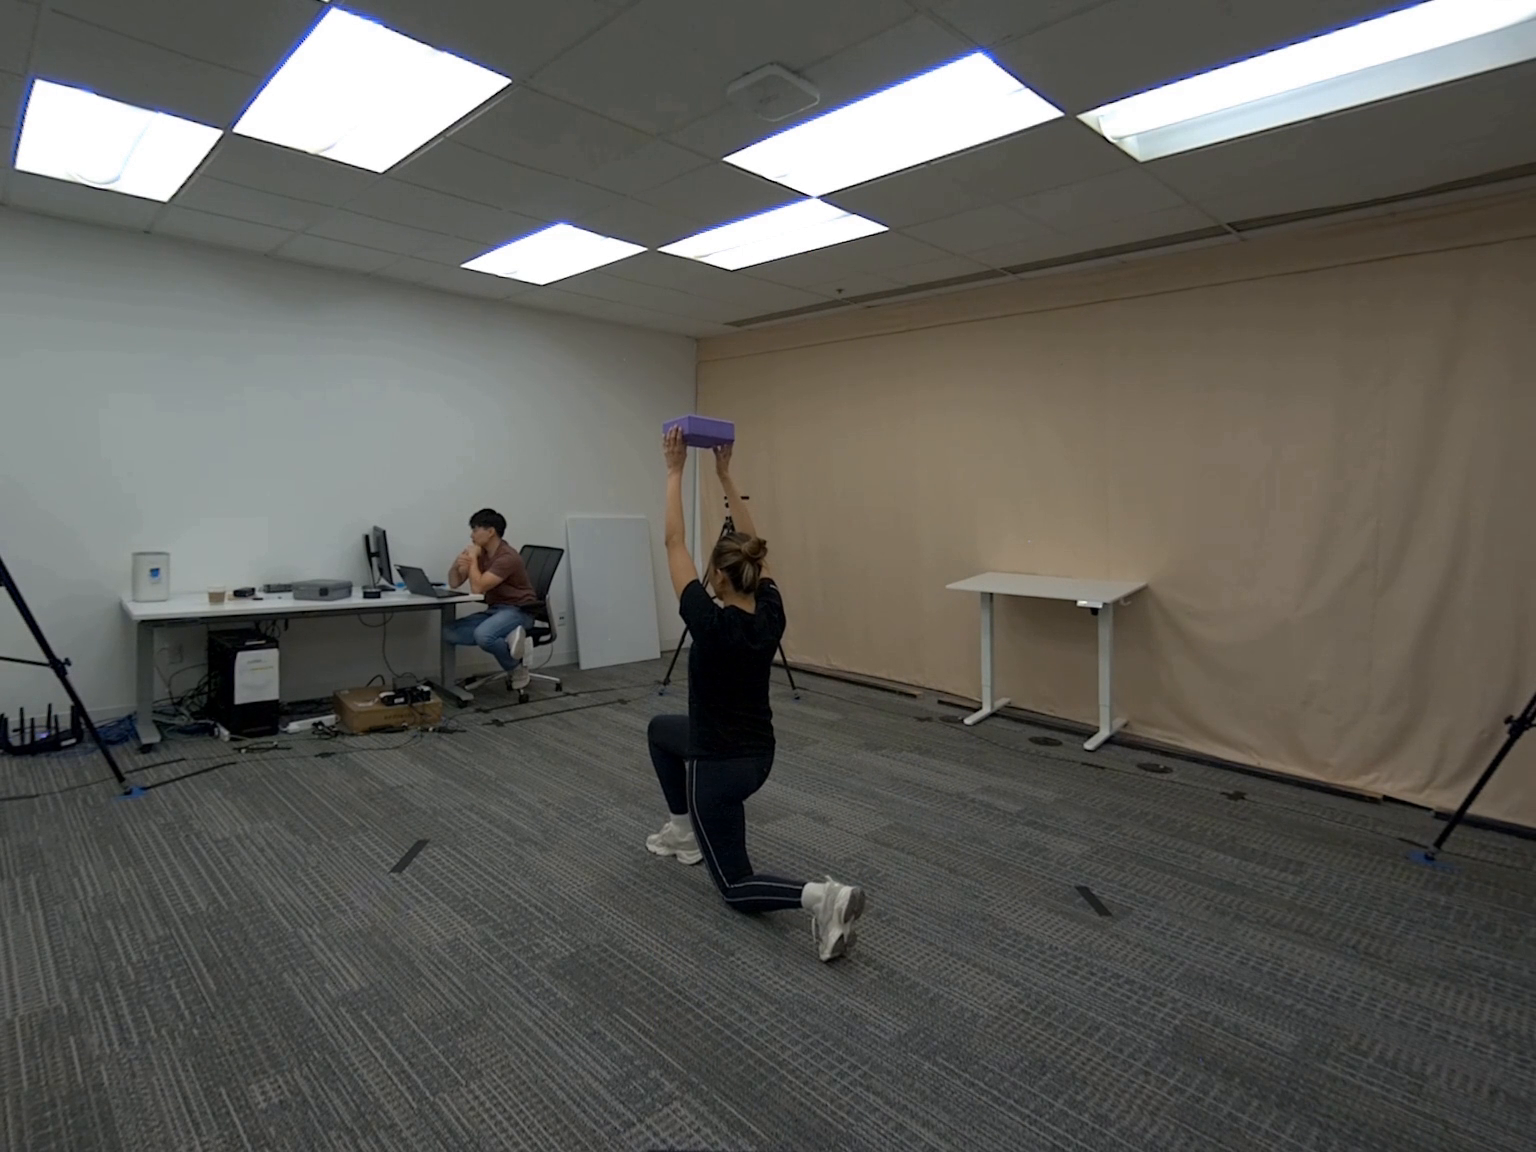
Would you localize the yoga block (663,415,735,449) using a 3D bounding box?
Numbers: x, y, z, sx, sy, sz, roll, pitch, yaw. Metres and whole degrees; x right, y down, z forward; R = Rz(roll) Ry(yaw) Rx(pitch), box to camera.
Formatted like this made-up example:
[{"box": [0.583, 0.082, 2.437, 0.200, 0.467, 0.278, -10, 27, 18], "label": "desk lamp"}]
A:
[{"box": [-0.250, -0.522, 3.016, 0.152, 0.077, 0.224, -7, -5, 42], "label": "yoga block"}]
